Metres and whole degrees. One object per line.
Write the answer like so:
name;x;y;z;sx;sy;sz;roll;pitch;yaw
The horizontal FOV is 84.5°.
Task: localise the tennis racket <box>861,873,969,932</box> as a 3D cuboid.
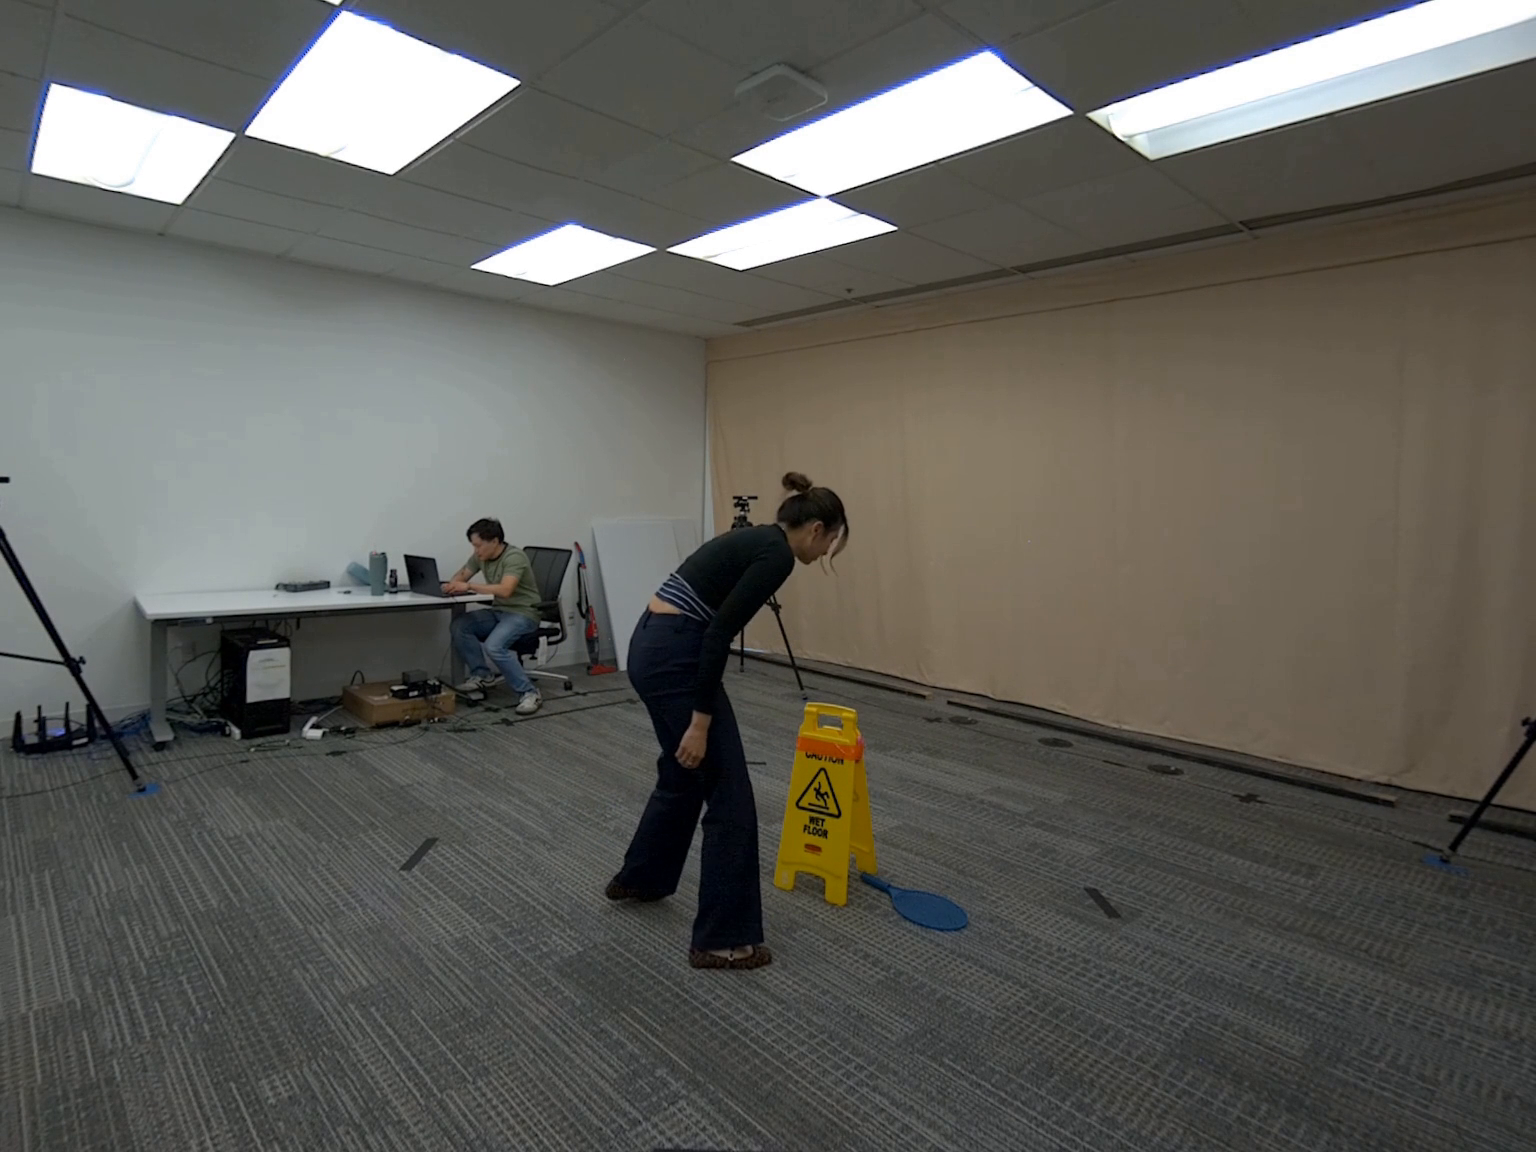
tennis racket;0.482;1.123;2.922;0.209;0.031;0.444;-3;9;-40
